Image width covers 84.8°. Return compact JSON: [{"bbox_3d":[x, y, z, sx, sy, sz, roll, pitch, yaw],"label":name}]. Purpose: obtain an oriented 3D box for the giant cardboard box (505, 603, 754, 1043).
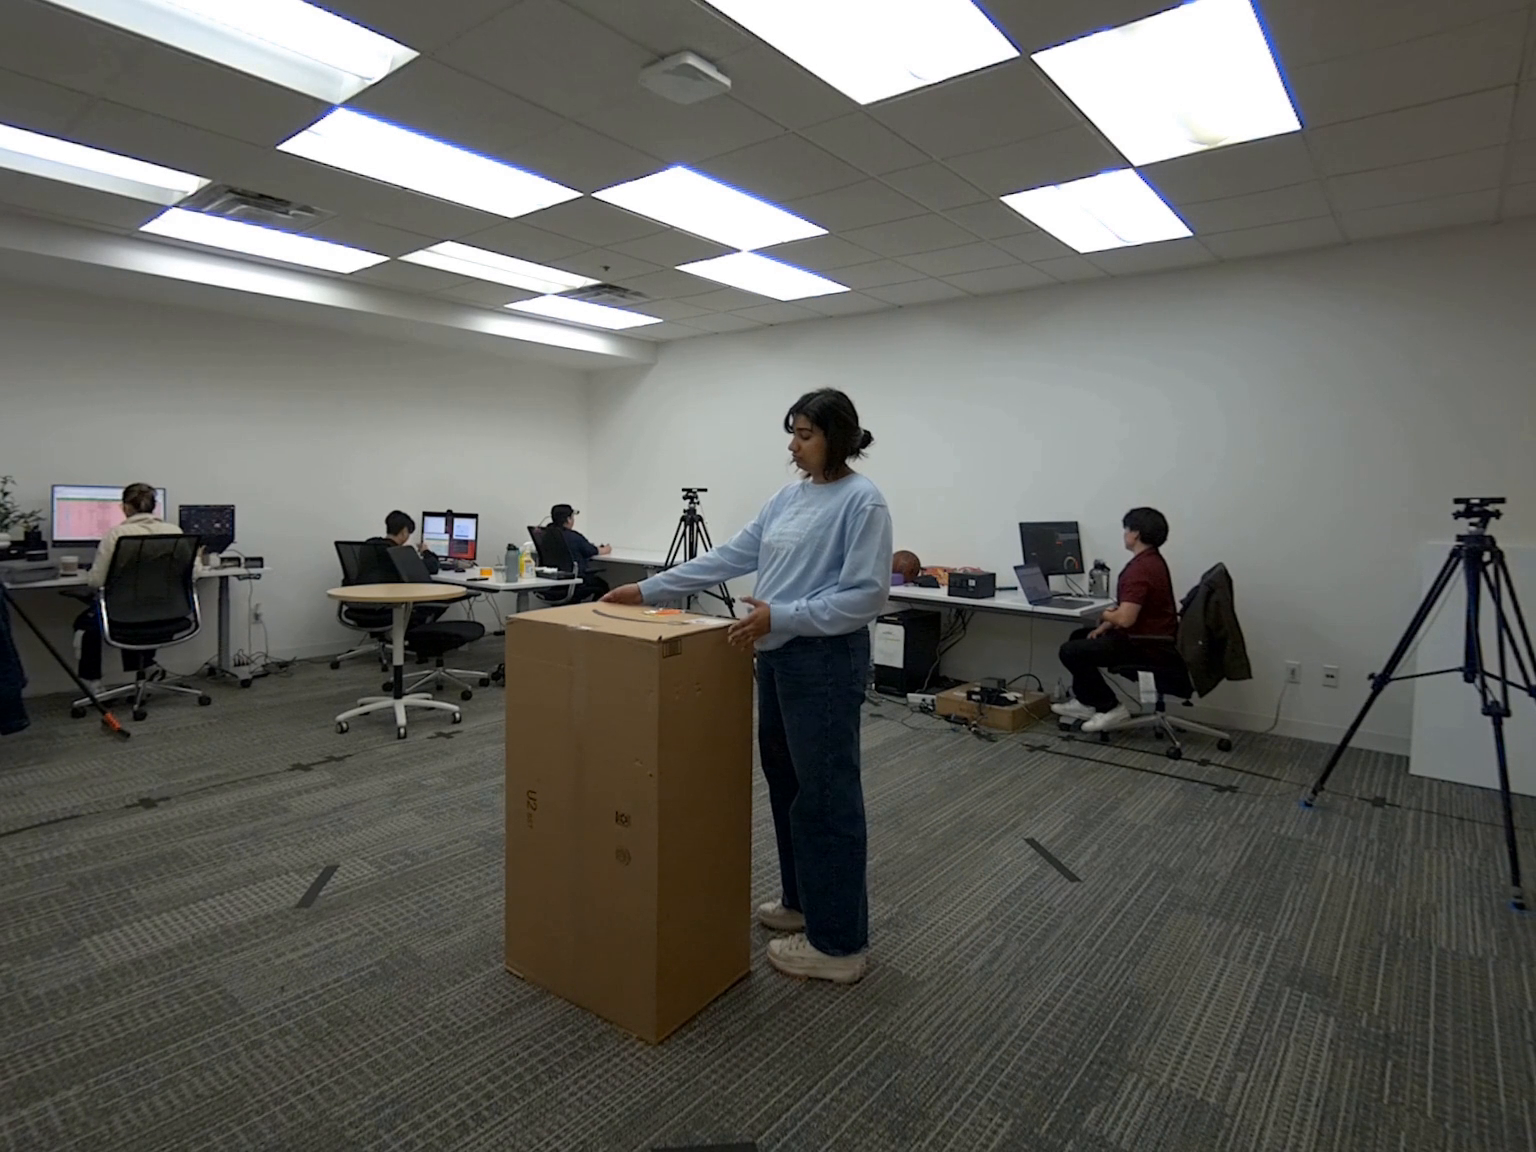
[{"bbox_3d":[-0.405,0.624,2.426,0.603,1.024,0.434,3,4,36],"label":"giant cardboard box"}]
